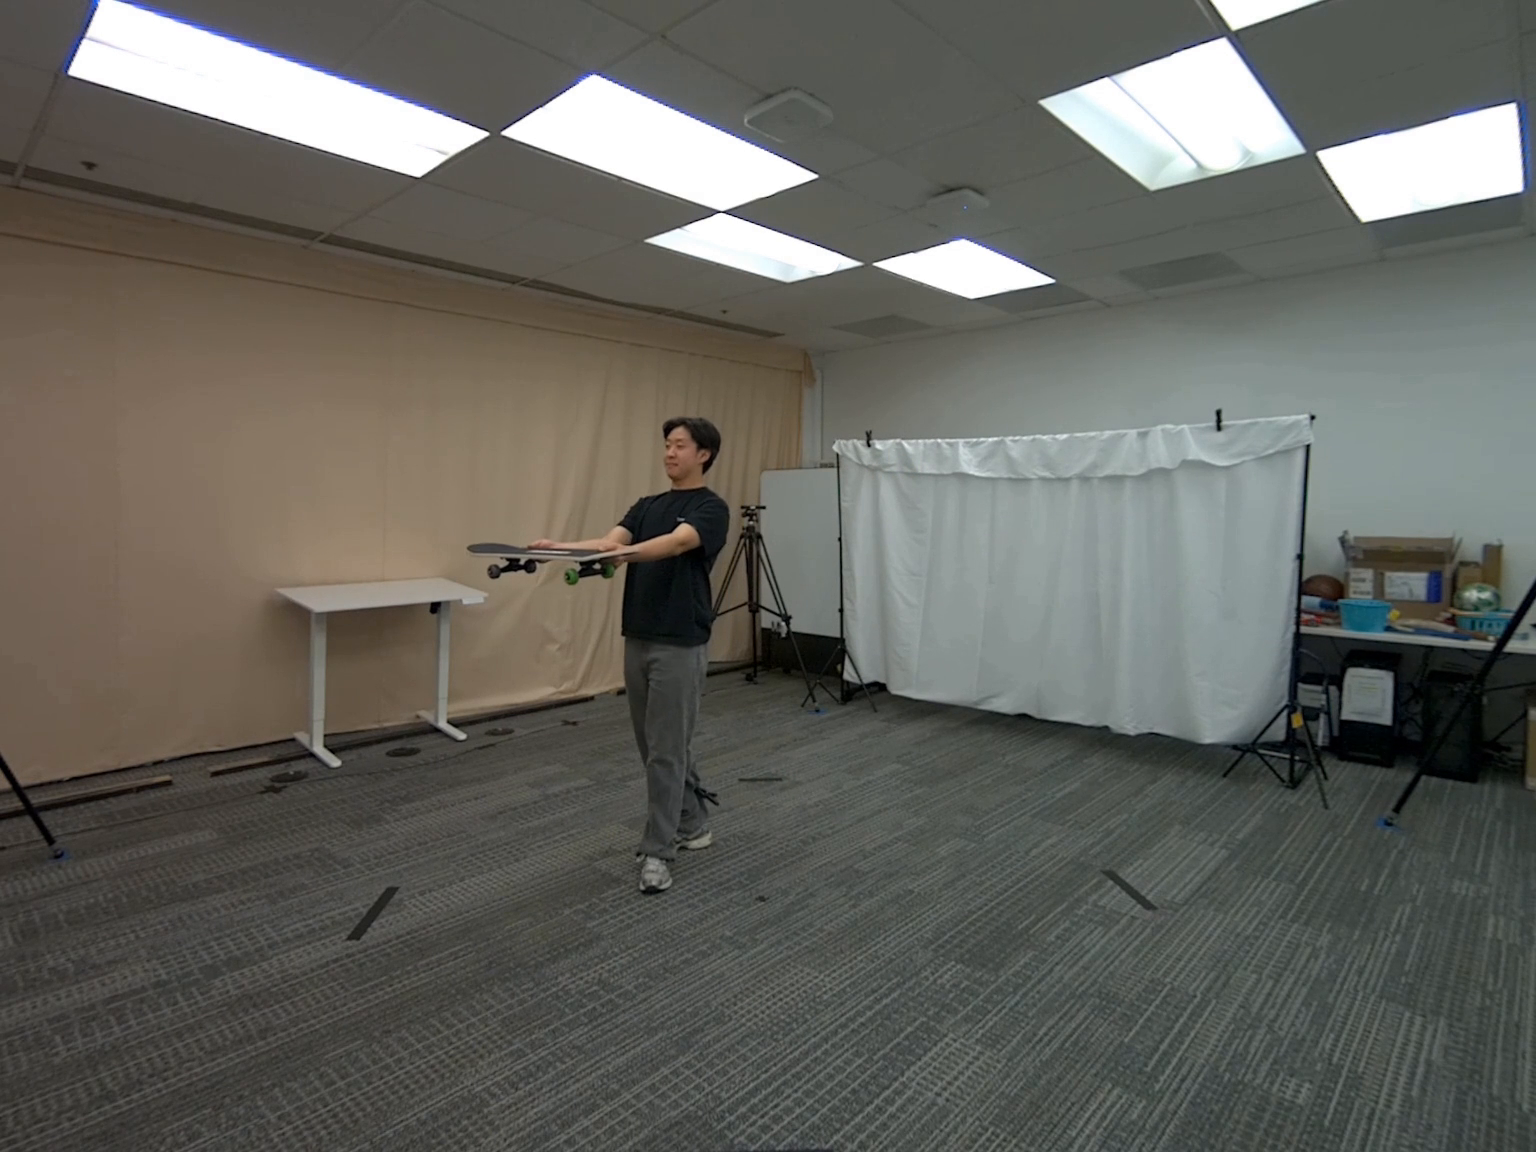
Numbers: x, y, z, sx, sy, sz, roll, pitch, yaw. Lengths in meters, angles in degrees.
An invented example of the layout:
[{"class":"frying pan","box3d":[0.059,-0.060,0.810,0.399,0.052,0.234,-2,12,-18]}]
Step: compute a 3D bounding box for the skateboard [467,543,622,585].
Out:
[{"class":"skateboard","box3d":[-0.718,-0.044,2.807,0.811,0.110,0.188,2,8,37]}]
